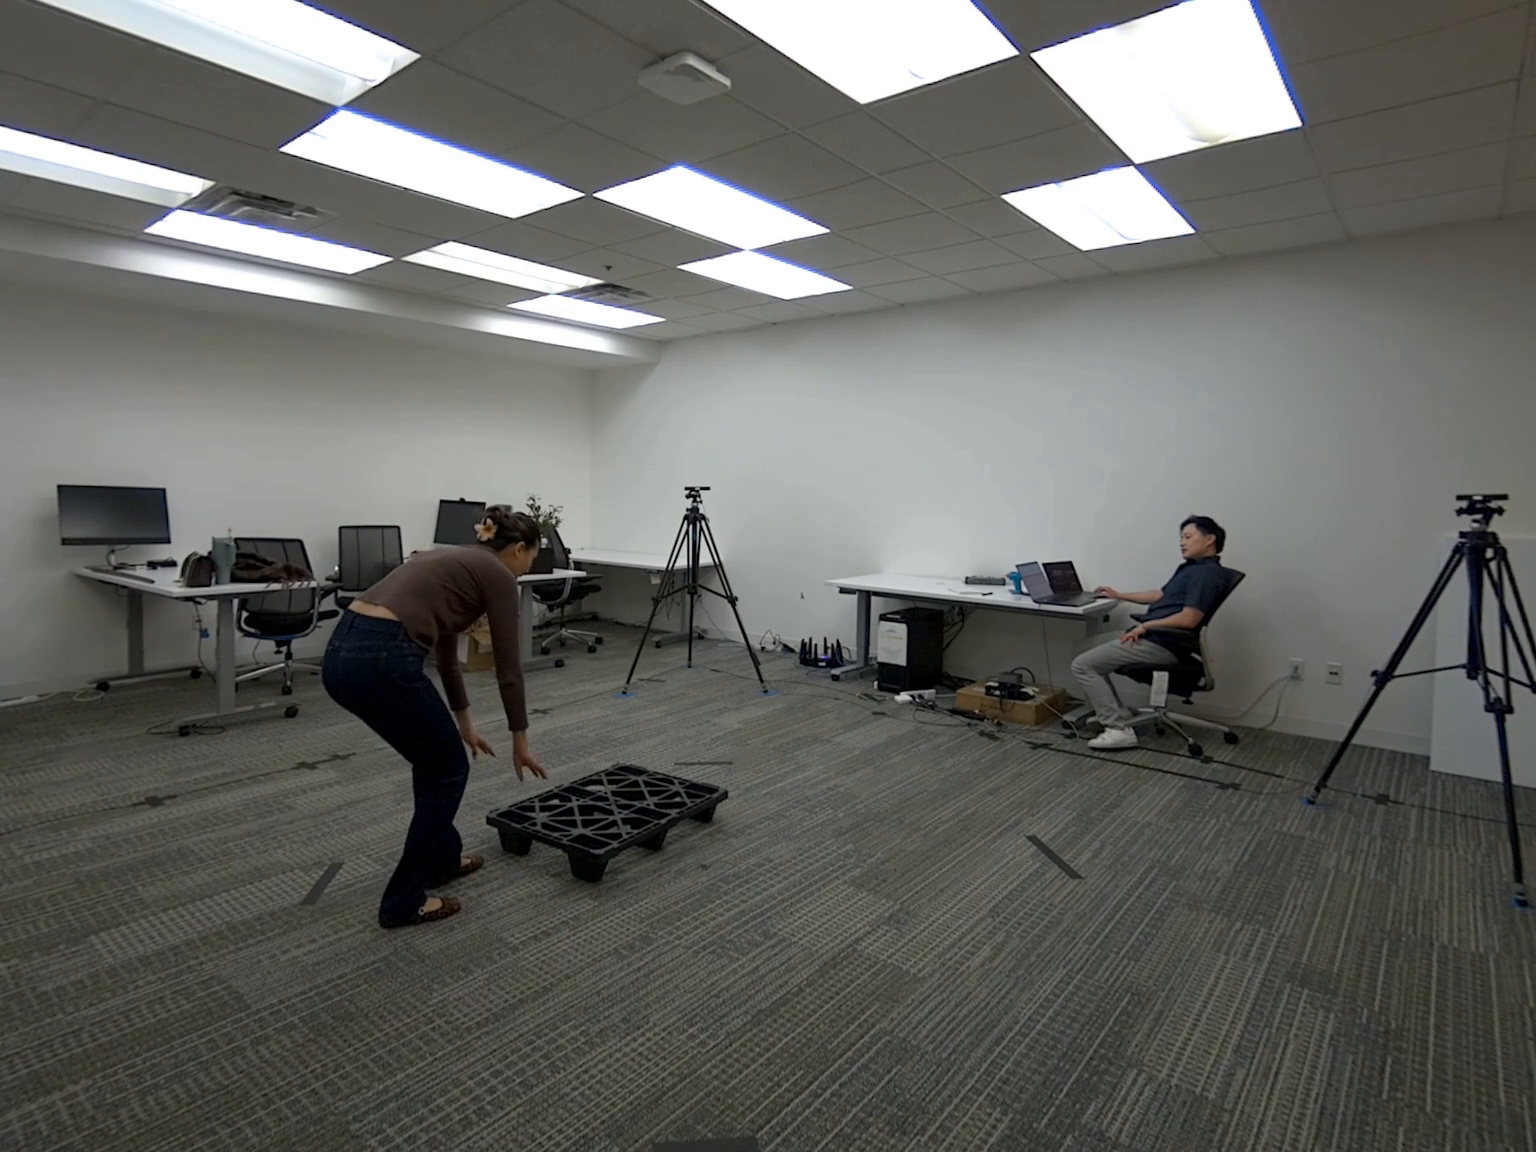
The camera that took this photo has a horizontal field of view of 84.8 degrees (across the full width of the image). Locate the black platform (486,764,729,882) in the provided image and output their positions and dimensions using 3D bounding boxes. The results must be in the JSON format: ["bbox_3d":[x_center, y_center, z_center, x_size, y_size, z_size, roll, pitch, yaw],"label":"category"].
[{"bbox_3d":[-0.635,0.964,3.399,0.624,0.143,0.784,3,6,33],"label":"black platform"}]
